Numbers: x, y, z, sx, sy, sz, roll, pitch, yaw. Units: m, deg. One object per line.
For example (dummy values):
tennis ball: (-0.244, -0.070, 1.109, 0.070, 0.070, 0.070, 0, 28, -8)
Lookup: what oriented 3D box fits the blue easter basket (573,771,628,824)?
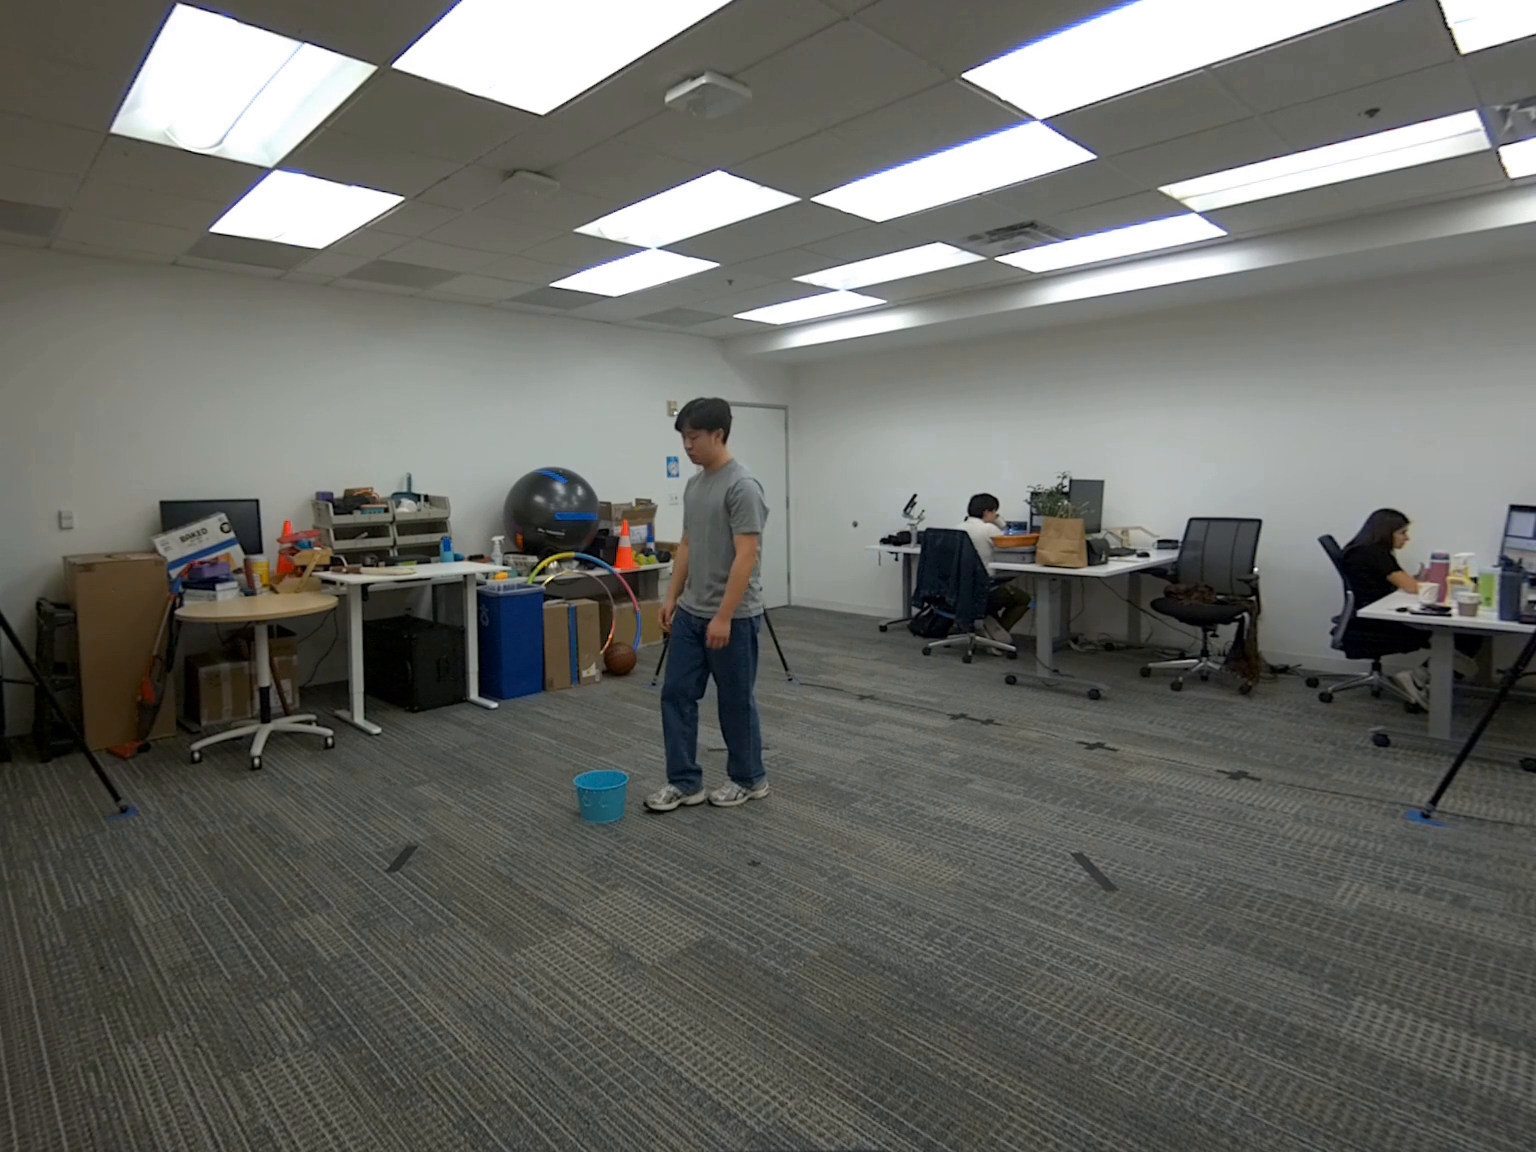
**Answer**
blue easter basket: (-0.693, 0.921, 3.591, 0.243, 0.155, 0.245, -1, 6, -2)
